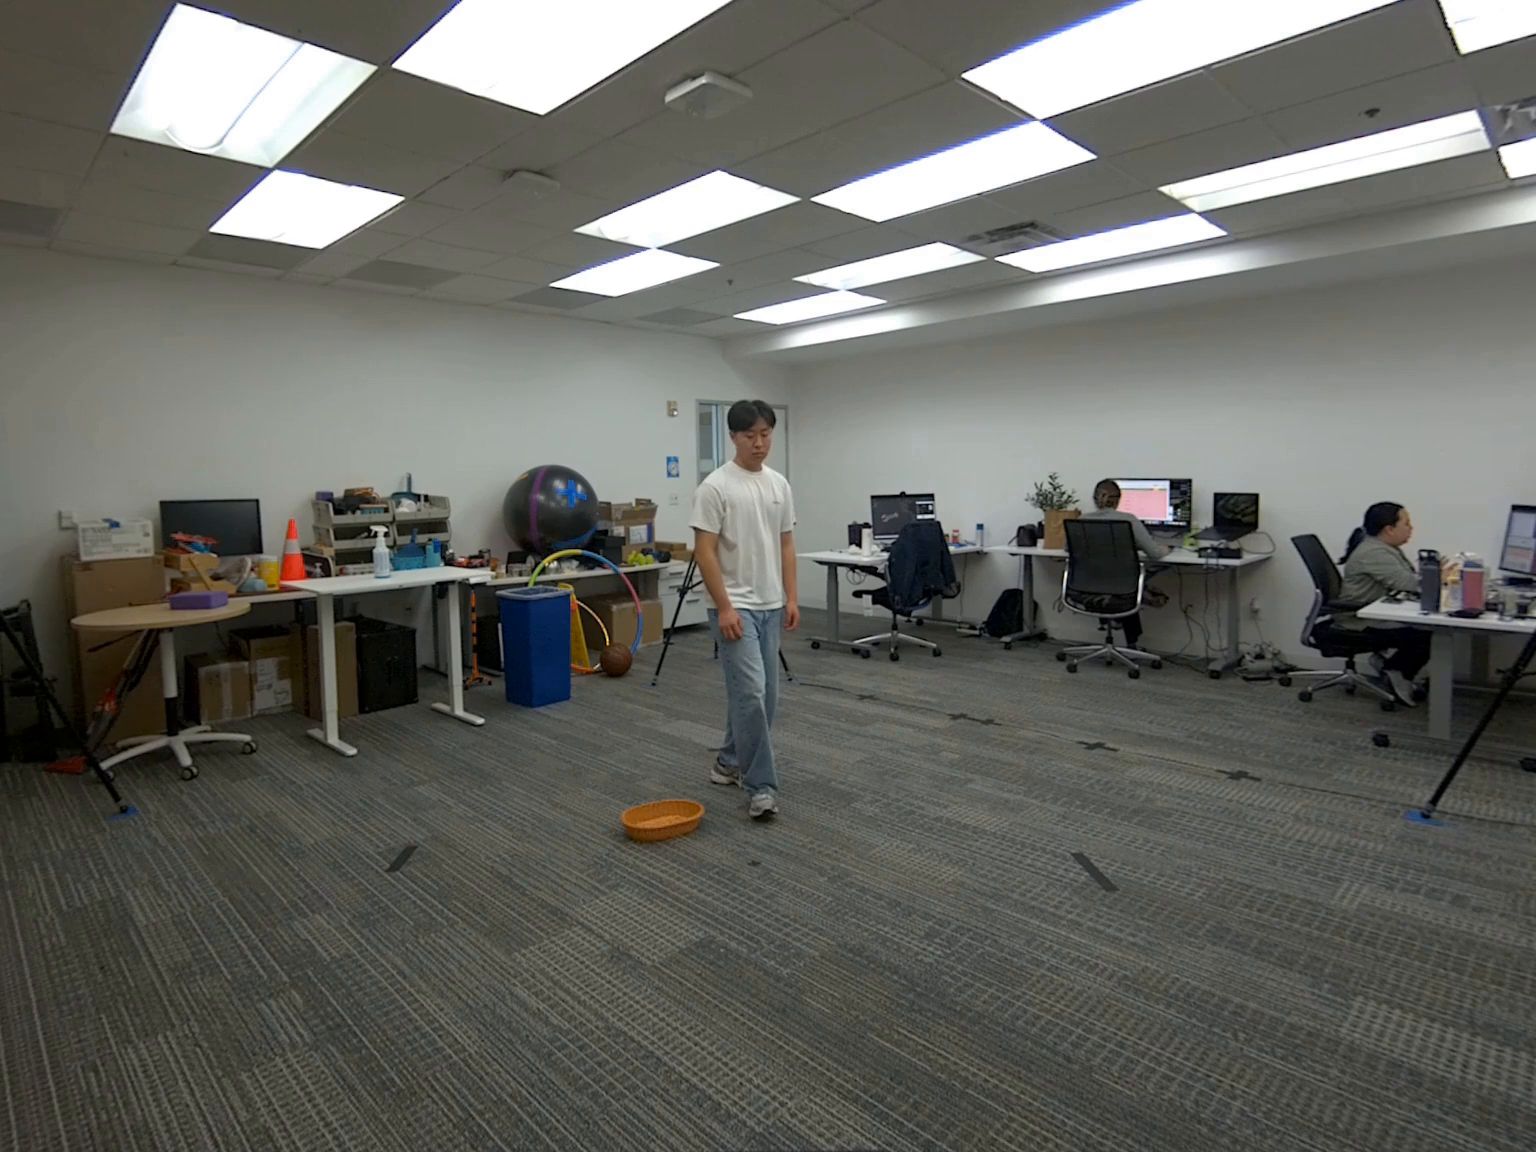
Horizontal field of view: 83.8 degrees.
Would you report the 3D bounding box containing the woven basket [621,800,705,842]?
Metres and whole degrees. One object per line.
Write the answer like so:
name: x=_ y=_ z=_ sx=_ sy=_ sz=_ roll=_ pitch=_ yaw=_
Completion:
woven basket: x=-0.416 y=0.979 z=3.415 sx=0.342 sy=0.073 sz=0.259 roll=-4 pitch=7 yaw=-28
